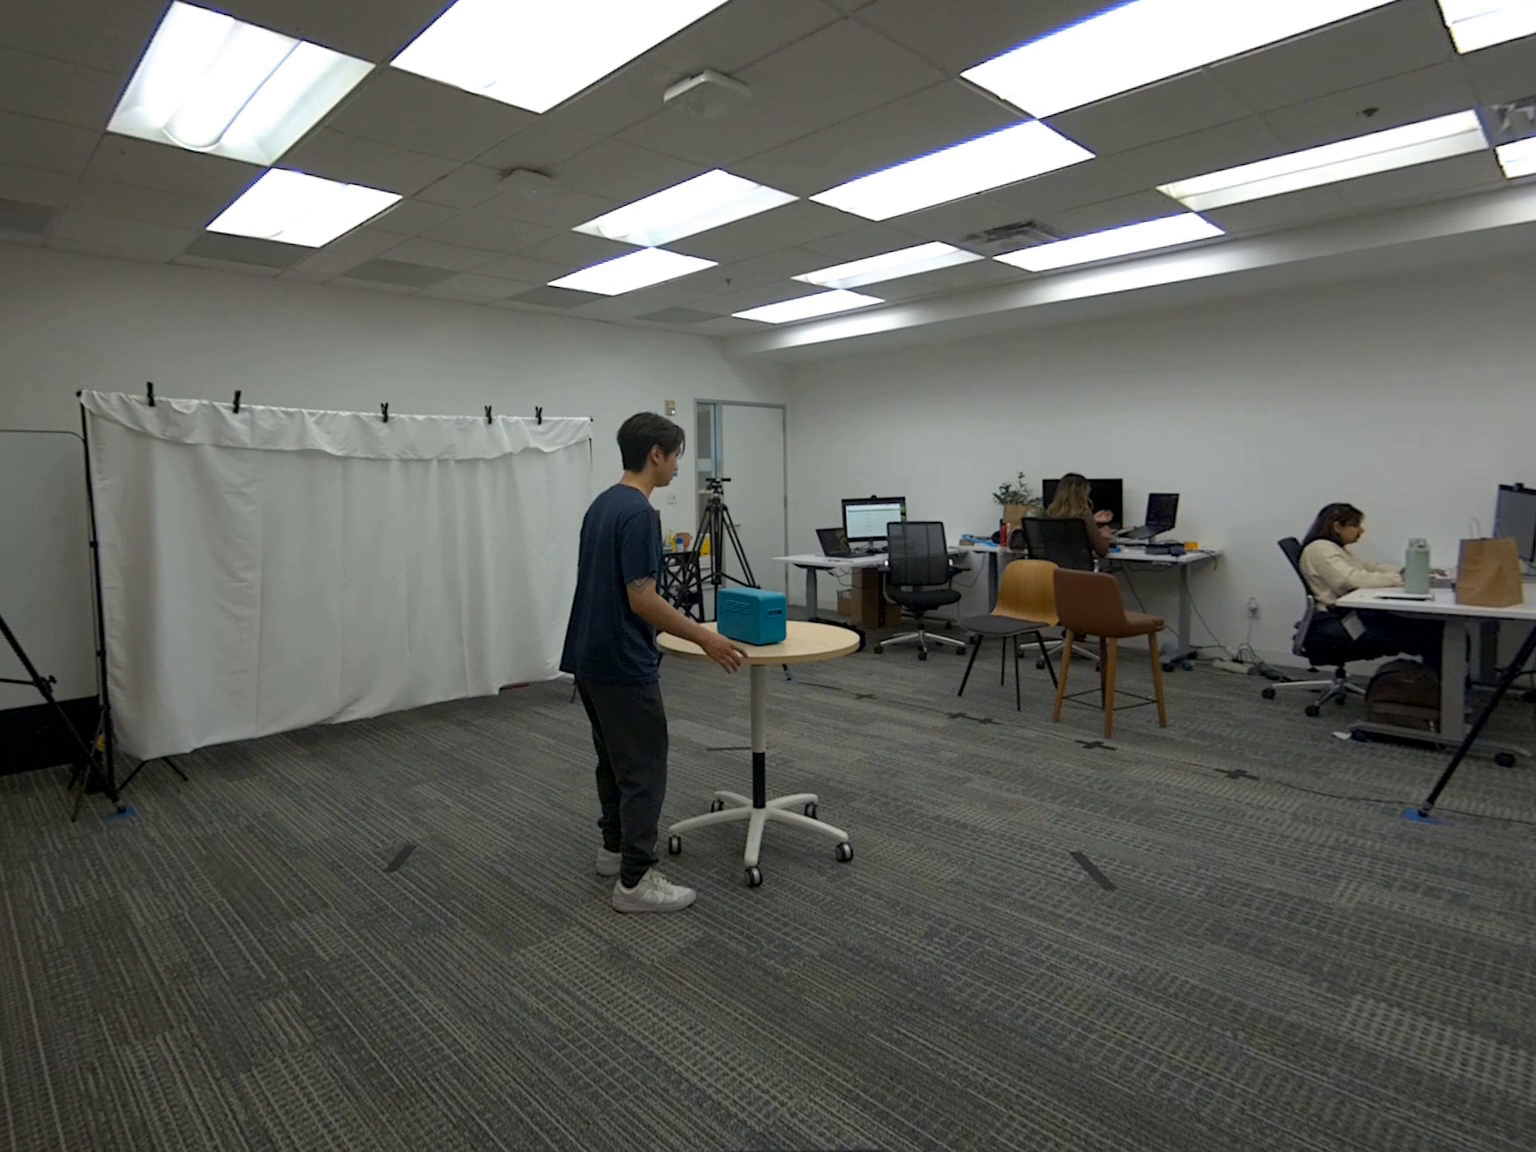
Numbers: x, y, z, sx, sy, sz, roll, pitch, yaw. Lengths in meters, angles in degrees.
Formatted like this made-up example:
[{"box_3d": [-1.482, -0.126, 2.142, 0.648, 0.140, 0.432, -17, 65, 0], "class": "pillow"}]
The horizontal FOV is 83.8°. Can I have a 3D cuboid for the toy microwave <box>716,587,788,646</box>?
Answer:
[{"box_3d": [-0.053, 0.143, 3.158, 0.148, 0.183, 0.294, -3, 5, -34], "class": "toy microwave"}]
